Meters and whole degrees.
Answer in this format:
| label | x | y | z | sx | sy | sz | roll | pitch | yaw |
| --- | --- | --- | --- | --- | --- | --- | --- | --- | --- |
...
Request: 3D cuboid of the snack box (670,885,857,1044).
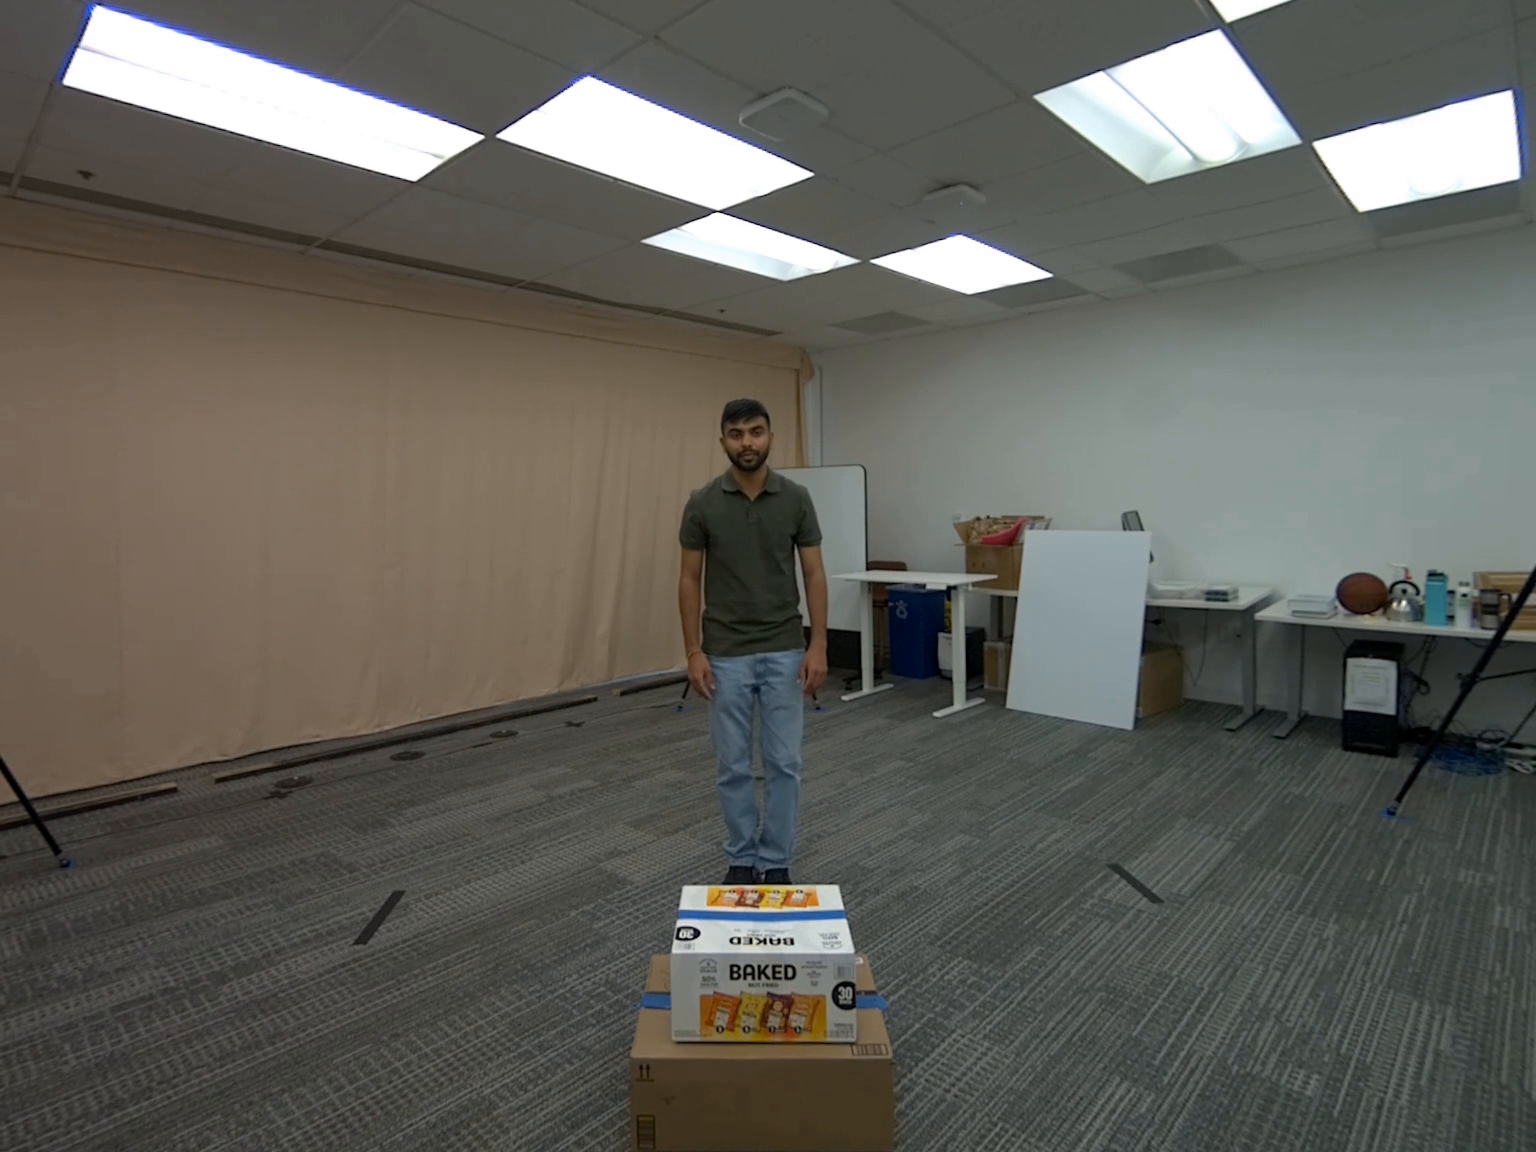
| label | x | y | z | sx | sy | sz | roll | pitch | yaw |
| --- | --- | --- | --- | --- | --- | --- | --- | --- | --- |
| snack box | -0.009 | 0.904 | 2.002 | 0.406 | 0.205 | 0.340 | -1 | 3 | 0 |
